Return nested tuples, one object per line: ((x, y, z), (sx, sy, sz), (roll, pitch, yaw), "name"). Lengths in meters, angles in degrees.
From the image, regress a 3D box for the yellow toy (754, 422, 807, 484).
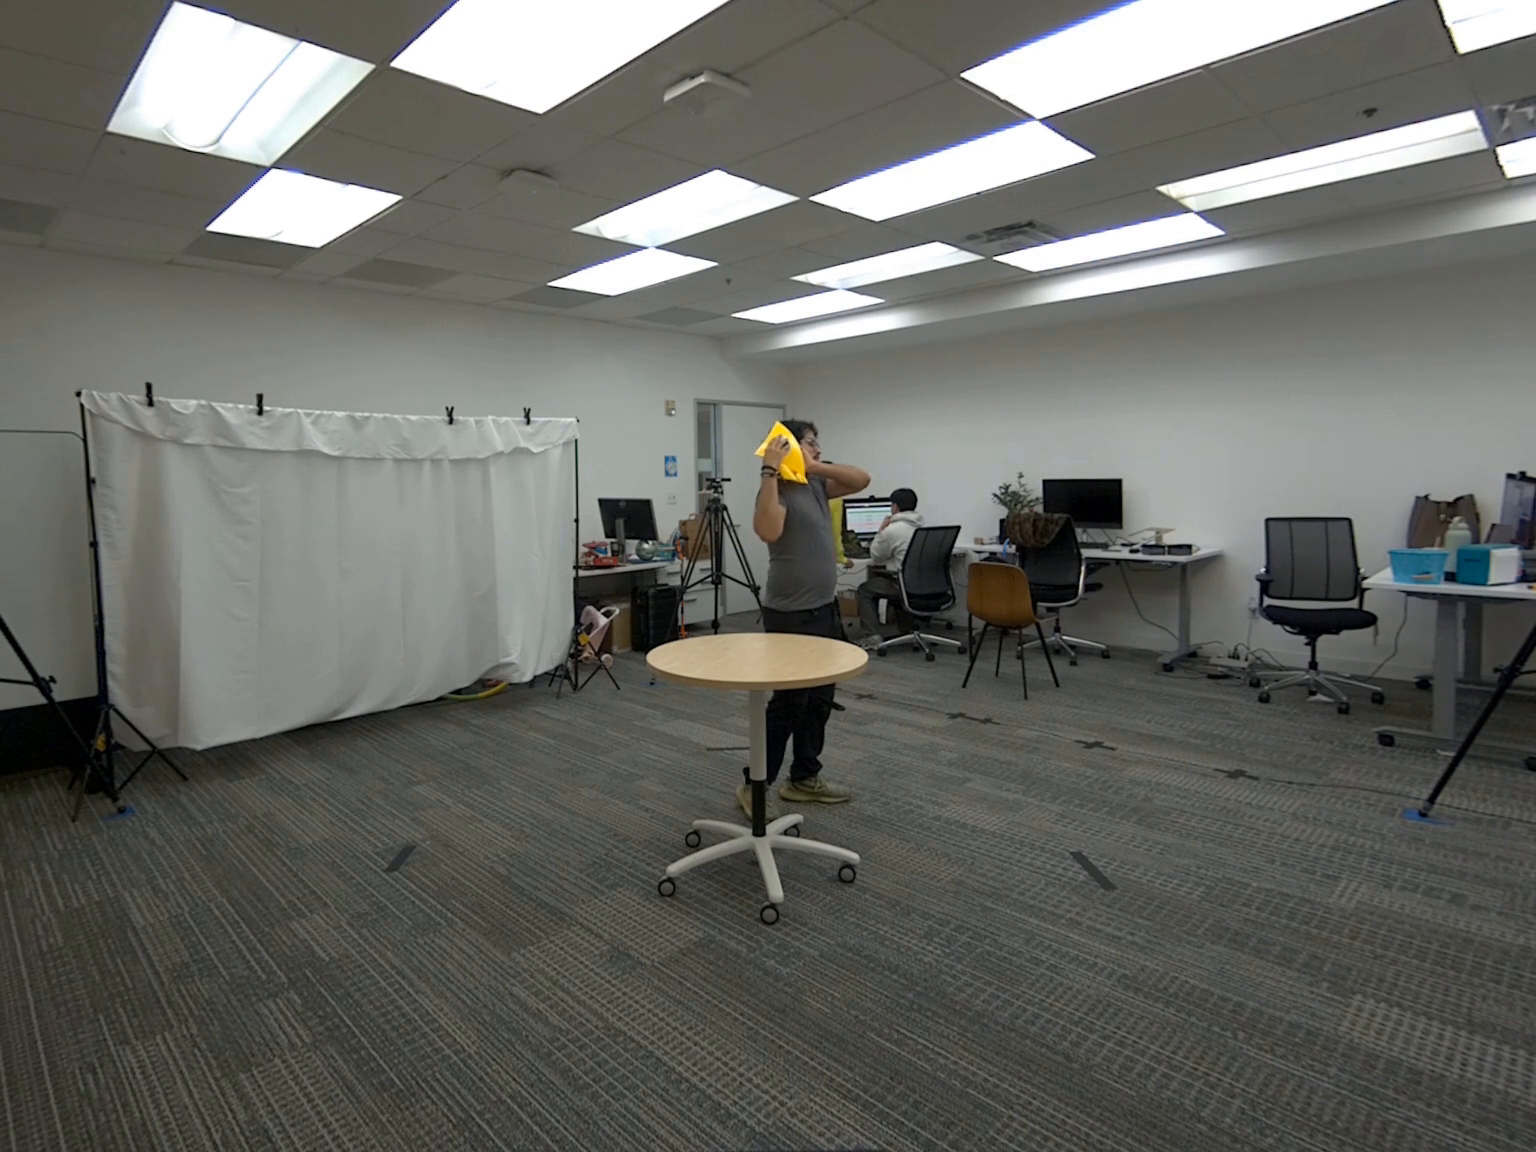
((0.075, -0.508, 3.465), (0.198, 0.230, 0.200), (10, 2, 25), "yellow toy")
